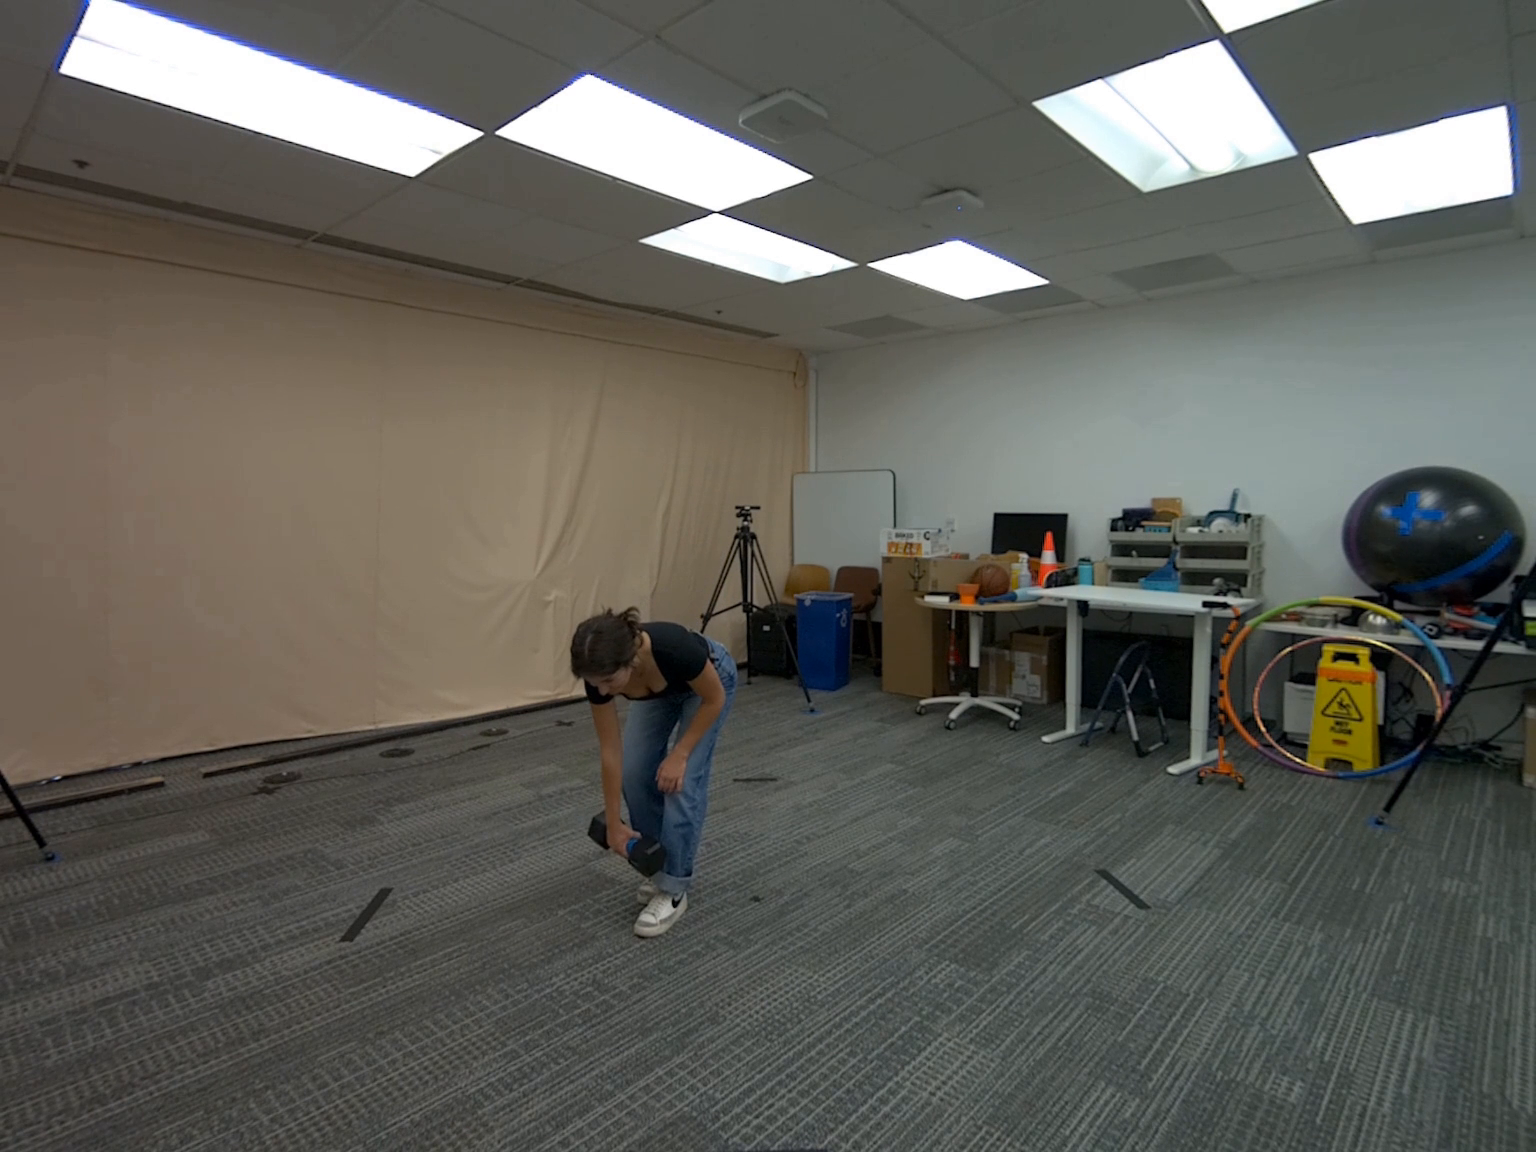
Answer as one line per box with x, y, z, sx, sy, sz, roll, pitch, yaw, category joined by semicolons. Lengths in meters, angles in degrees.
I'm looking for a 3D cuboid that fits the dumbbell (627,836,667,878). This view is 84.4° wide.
-0.467;0.885;2.818;0.304;0.108;0.119;14;-34;39;dumbbell
